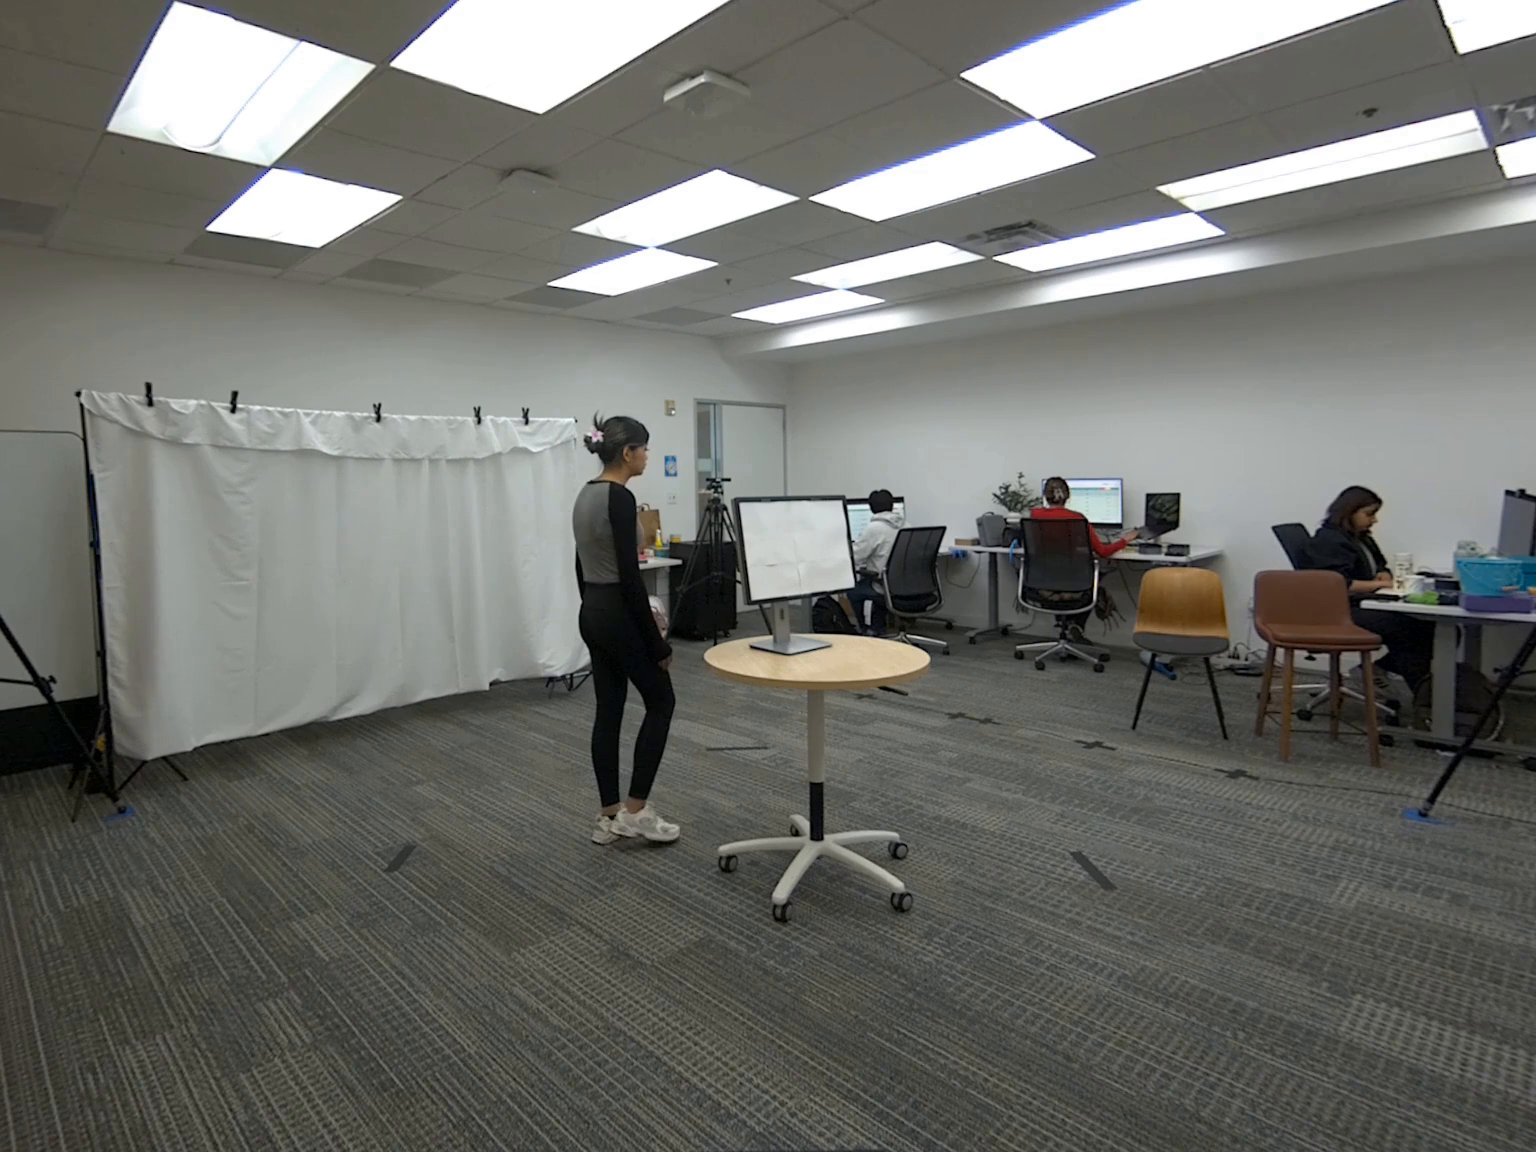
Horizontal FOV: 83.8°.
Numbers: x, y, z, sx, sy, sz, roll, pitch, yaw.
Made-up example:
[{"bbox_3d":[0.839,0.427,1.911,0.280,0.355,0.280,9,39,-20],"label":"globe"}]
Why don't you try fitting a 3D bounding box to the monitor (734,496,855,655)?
[{"bbox_3d":[0.081,-0.010,3.045,0.525,0.520,0.193,-5,8,-45],"label":"monitor"}]
